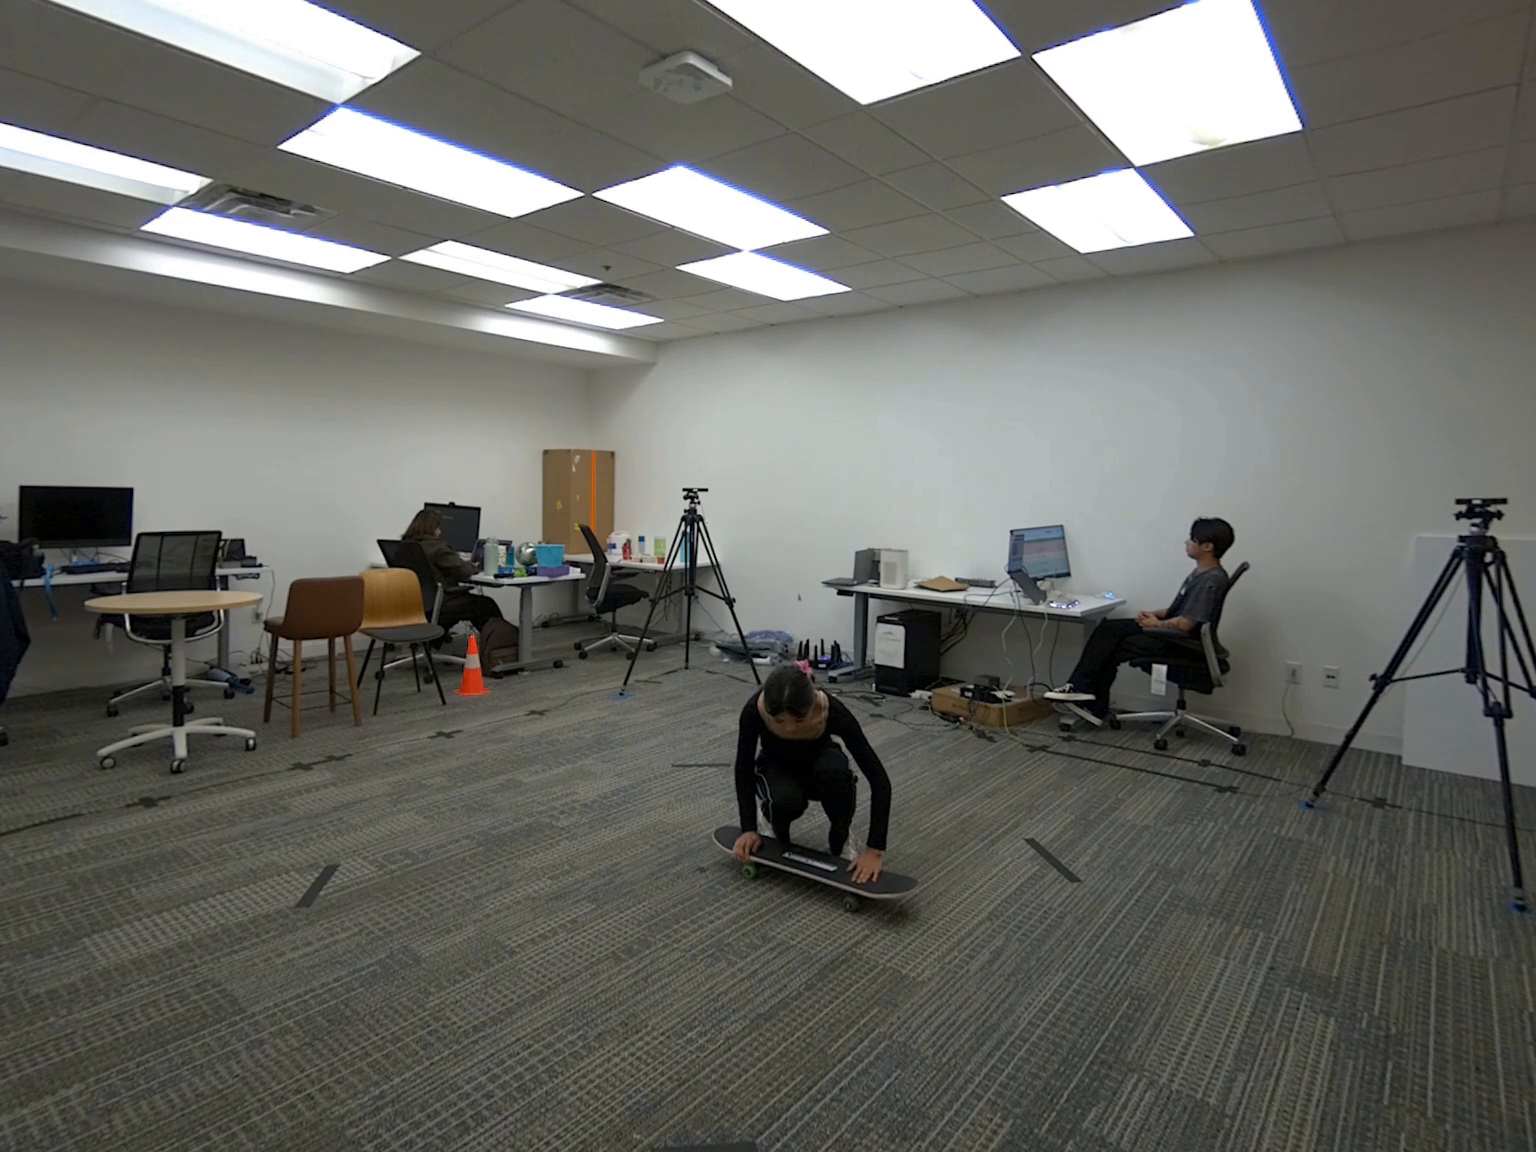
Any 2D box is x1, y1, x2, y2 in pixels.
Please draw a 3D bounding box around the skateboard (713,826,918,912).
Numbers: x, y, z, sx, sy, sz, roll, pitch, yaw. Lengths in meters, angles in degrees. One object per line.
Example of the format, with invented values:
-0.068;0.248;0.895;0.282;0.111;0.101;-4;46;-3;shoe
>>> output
0.131;1.030;3.001;0.810;0.110;0.188;5;7;32;skateboard
